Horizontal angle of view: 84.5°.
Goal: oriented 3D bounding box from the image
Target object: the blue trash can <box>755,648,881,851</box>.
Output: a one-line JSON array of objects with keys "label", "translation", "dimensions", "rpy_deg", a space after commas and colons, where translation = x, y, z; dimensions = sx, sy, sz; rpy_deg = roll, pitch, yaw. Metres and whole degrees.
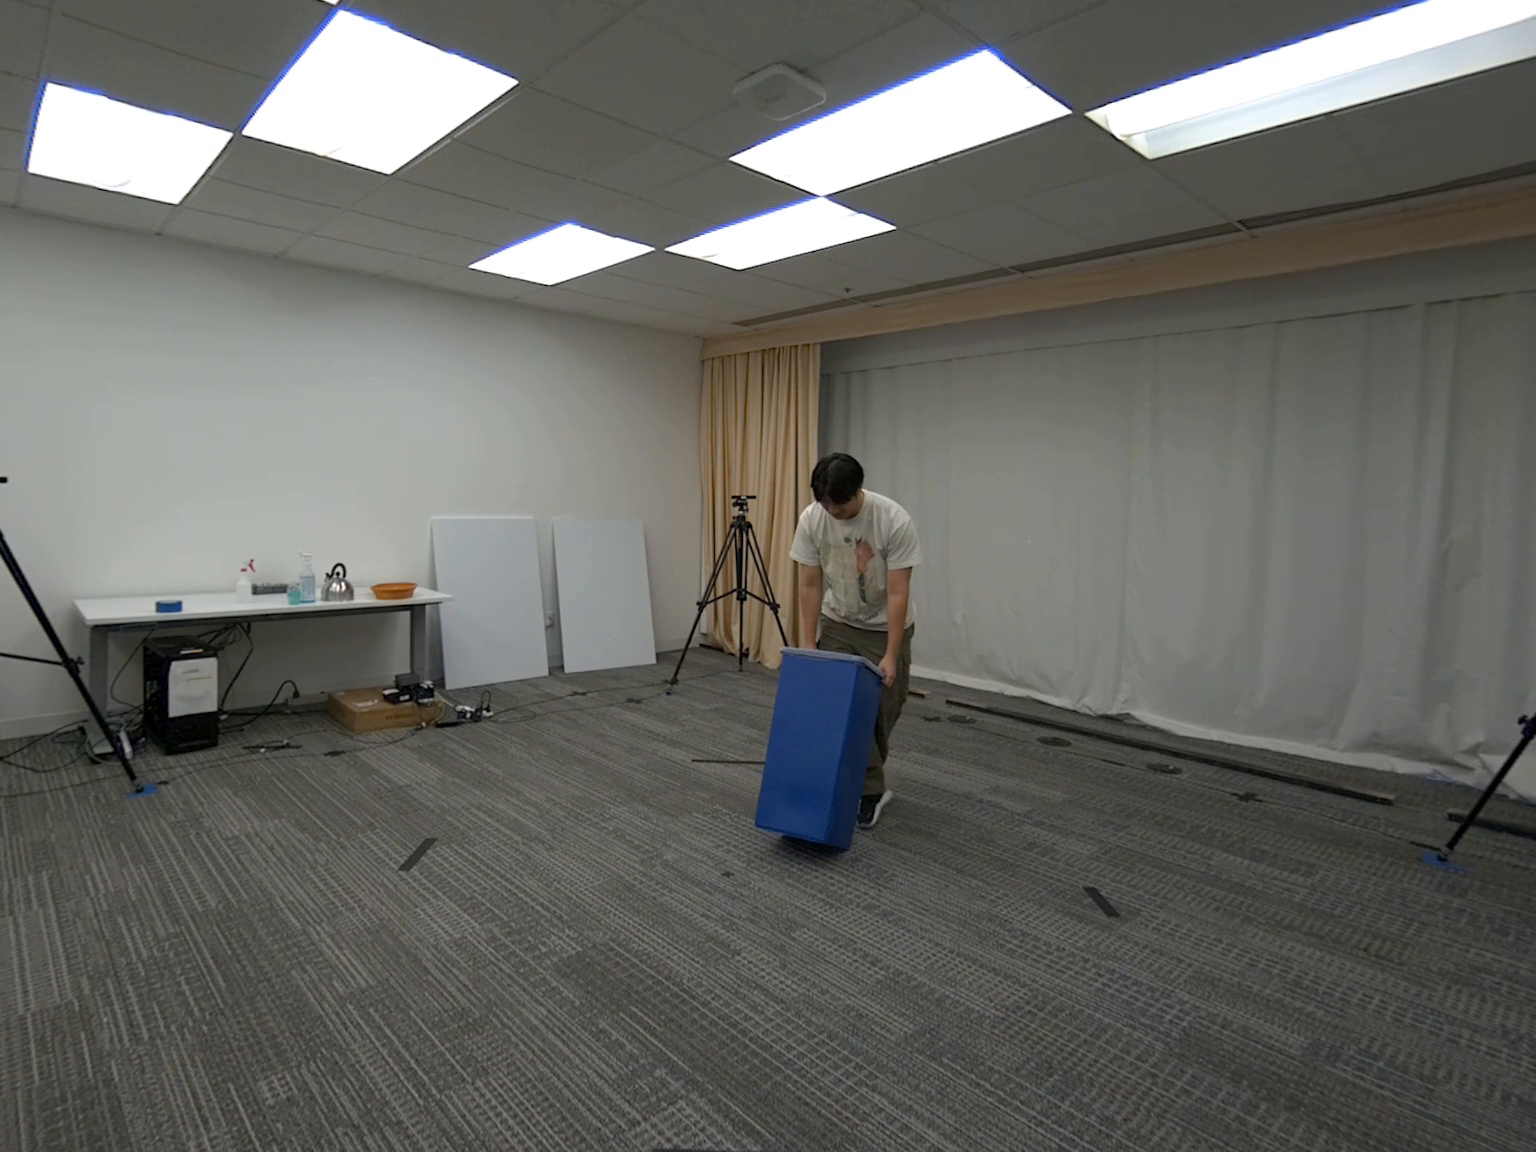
[{"label": "blue trash can", "translation": [0.198, 0.692, 3.398], "dimensions": [0.386, 0.720, 0.363], "rpy_deg": [3, -19, 28]}]
